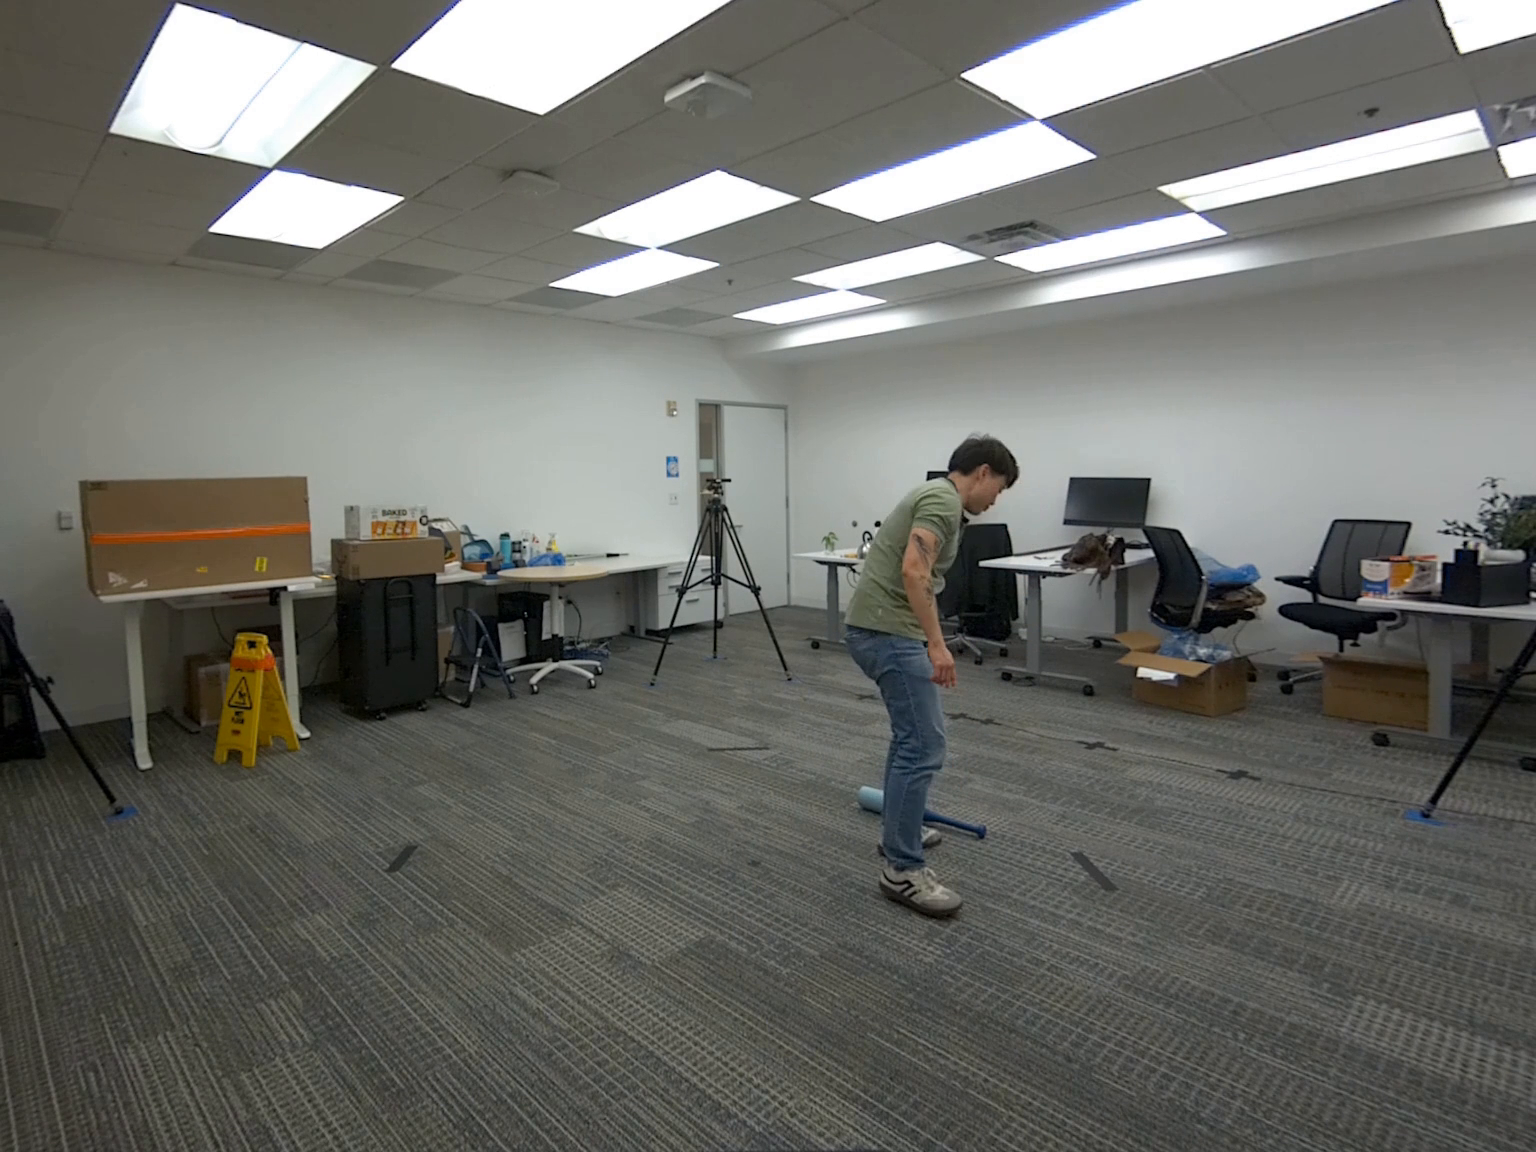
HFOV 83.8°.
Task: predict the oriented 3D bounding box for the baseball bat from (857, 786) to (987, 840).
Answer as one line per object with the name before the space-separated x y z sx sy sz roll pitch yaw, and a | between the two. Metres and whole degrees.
baseball bat | 0.615 0.959 3.448 0.560 0.088 0.087 8 9 38
